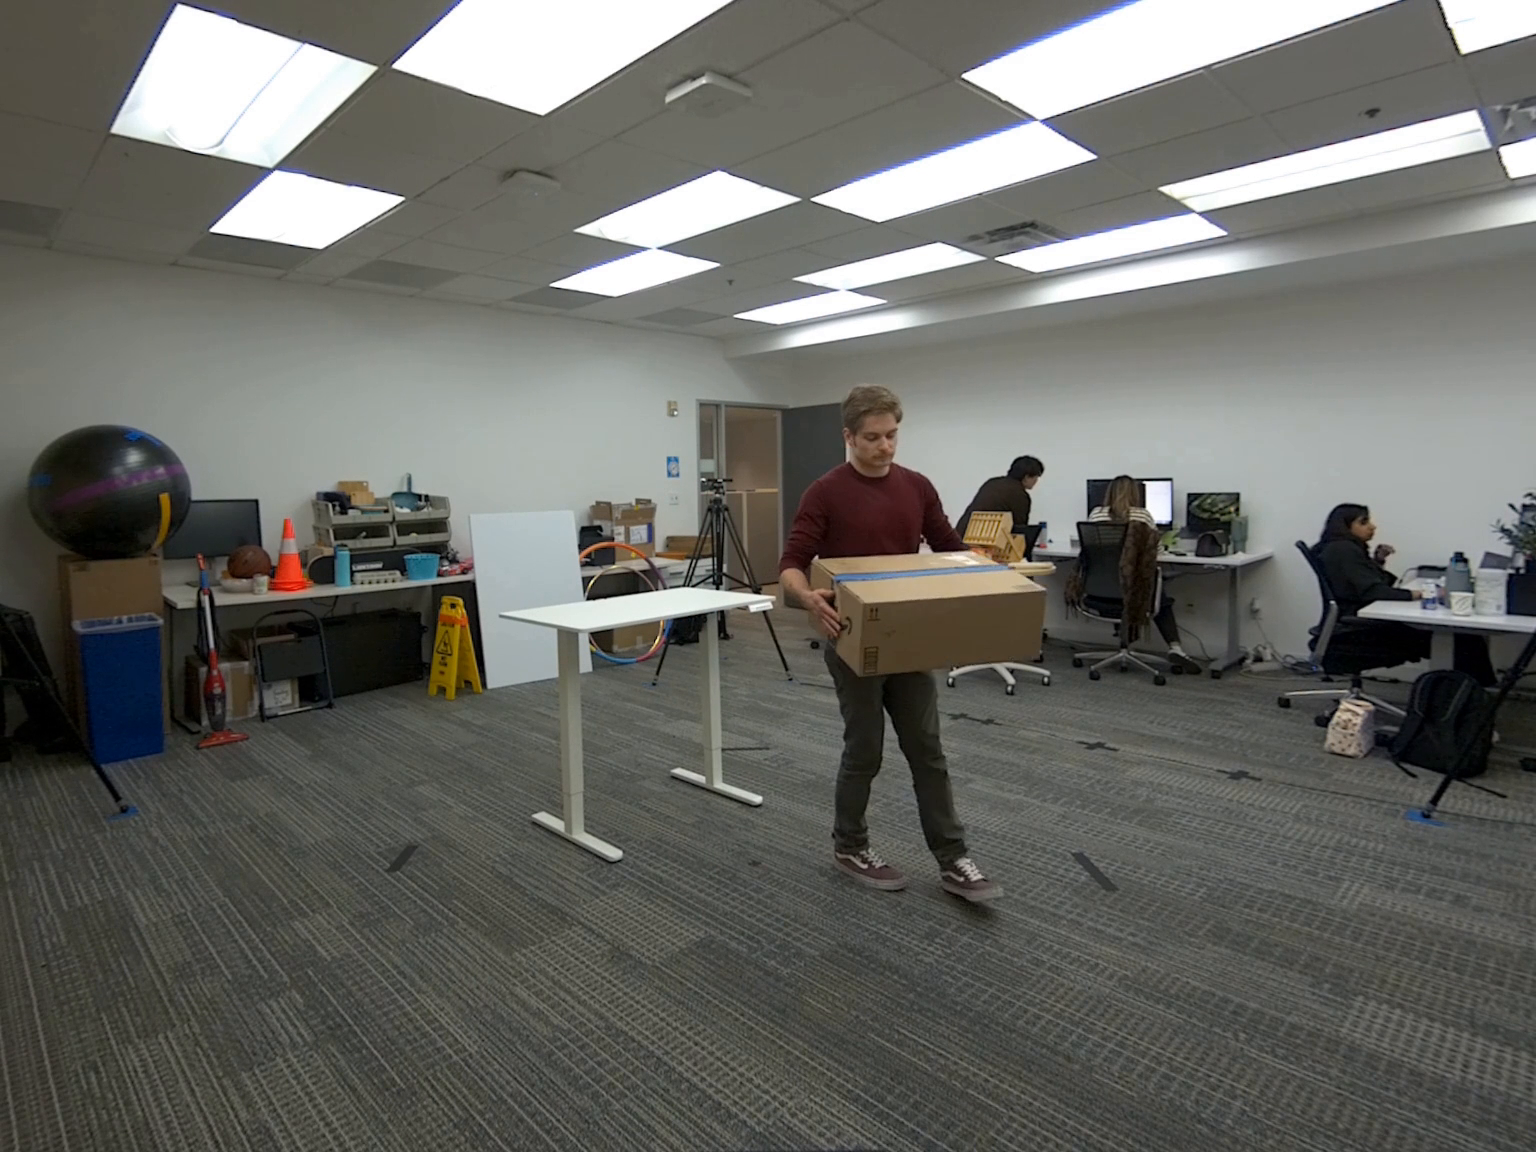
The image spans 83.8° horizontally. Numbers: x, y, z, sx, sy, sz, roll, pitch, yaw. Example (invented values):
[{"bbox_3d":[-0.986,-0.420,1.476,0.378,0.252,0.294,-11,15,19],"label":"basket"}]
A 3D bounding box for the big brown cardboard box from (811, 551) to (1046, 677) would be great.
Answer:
[{"bbox_3d":[0.471,0.096,2.551,0.582,0.230,0.428,-4,16,-14],"label":"big brown cardboard box"}]
